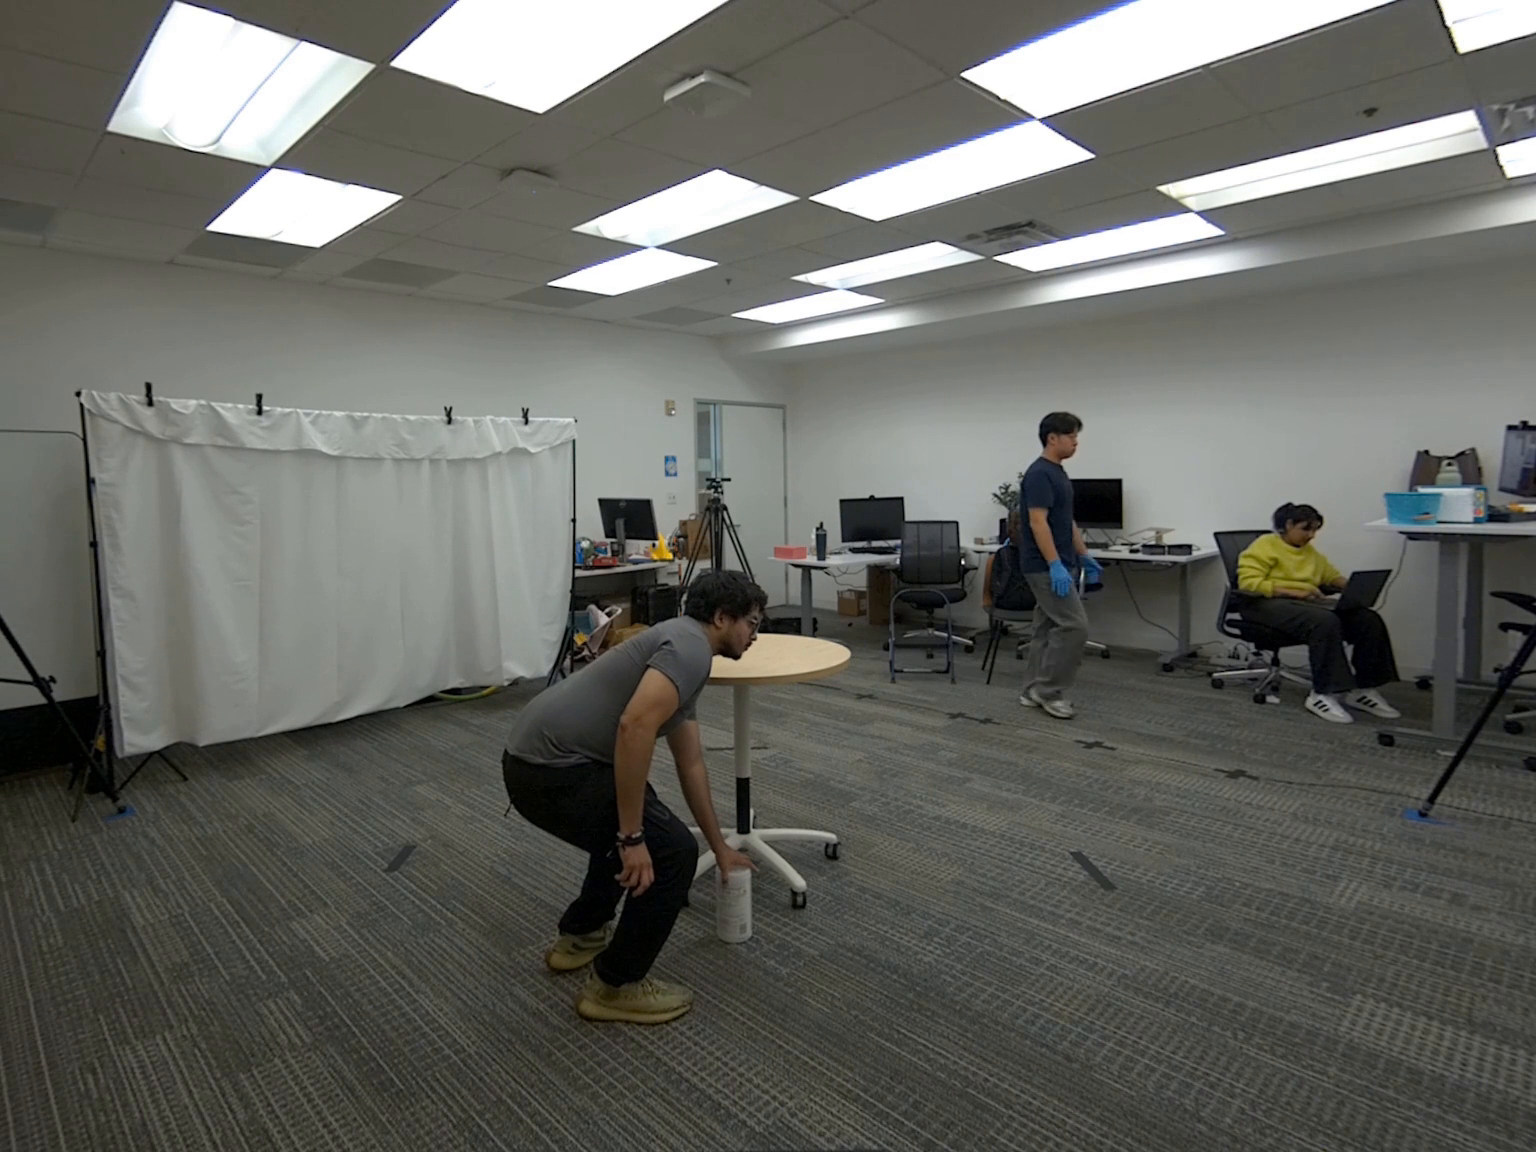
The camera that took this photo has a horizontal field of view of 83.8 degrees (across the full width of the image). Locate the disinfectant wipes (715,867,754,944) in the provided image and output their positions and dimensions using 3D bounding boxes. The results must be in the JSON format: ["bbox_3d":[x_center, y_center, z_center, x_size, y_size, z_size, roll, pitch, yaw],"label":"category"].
[{"bbox_3d":[-0.101,1.002,2.614,0.118,0.216,0.118,-1,5,-2],"label":"disinfectant wipes"}]
